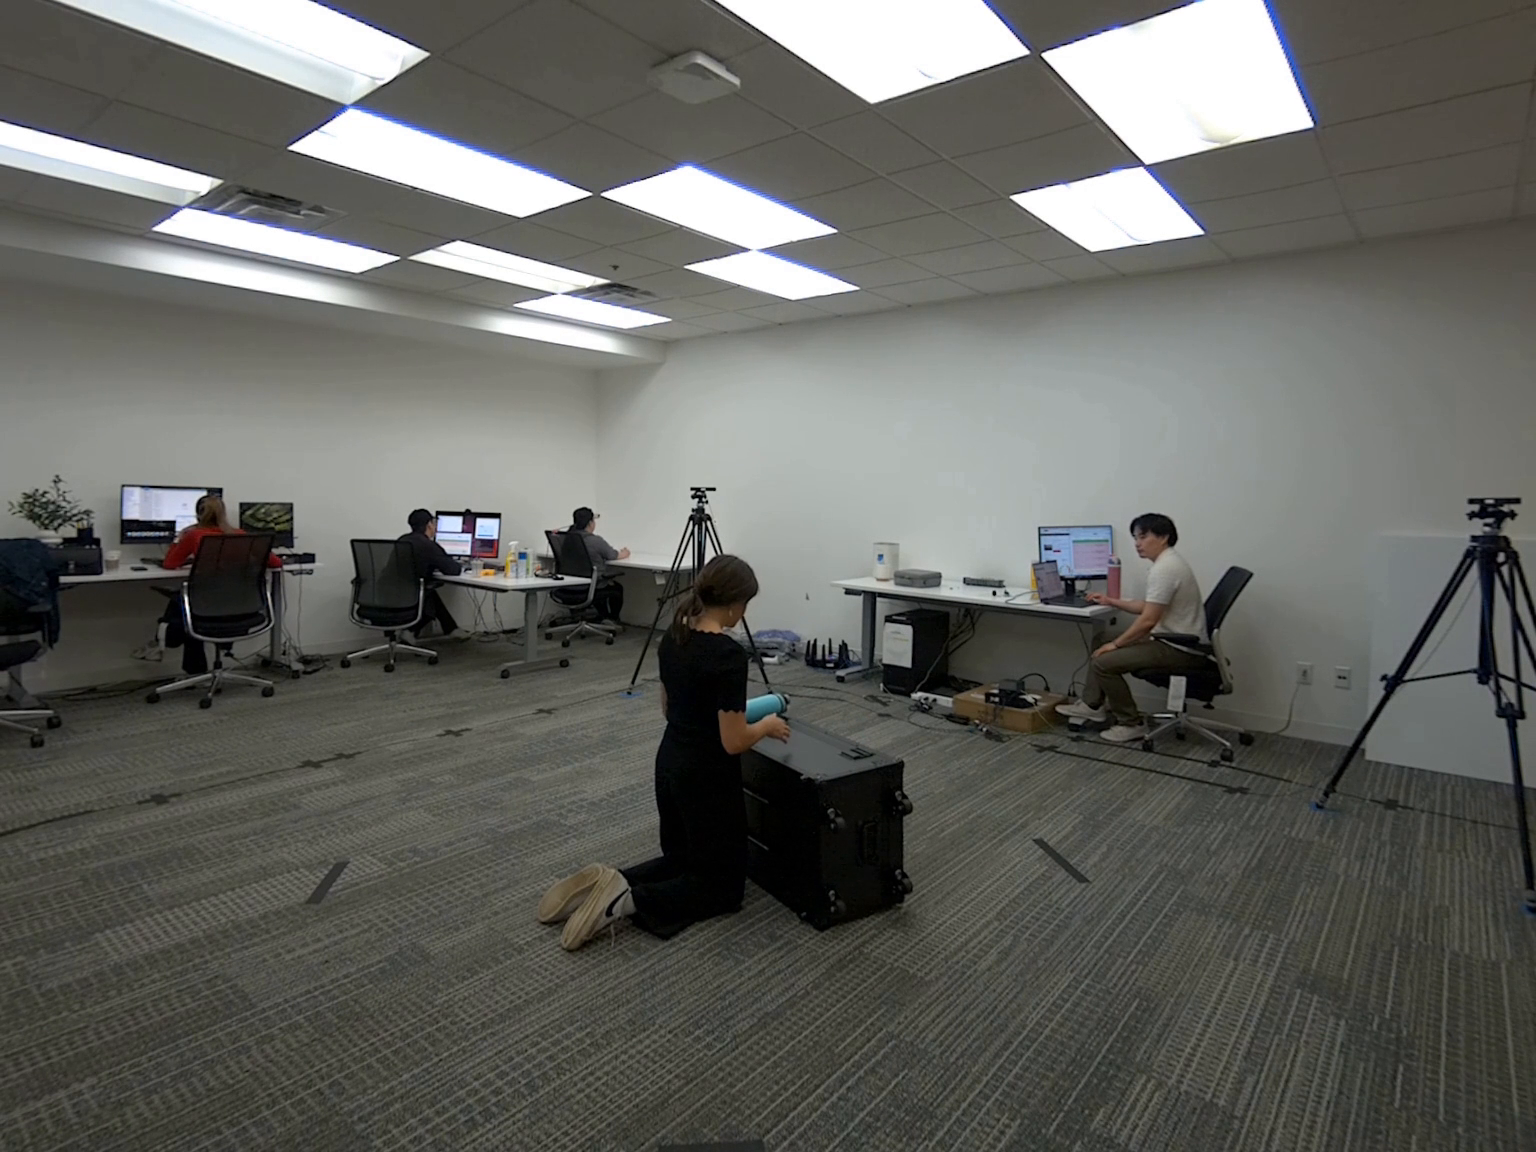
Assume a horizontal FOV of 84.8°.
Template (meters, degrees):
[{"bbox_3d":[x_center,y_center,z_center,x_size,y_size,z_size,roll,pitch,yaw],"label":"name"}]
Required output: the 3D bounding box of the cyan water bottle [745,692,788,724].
[{"bbox_3d":[-0.043,0.510,3.260,0.276,0.092,0.095,-9,9,-34],"label":"cyan water bottle"}]
